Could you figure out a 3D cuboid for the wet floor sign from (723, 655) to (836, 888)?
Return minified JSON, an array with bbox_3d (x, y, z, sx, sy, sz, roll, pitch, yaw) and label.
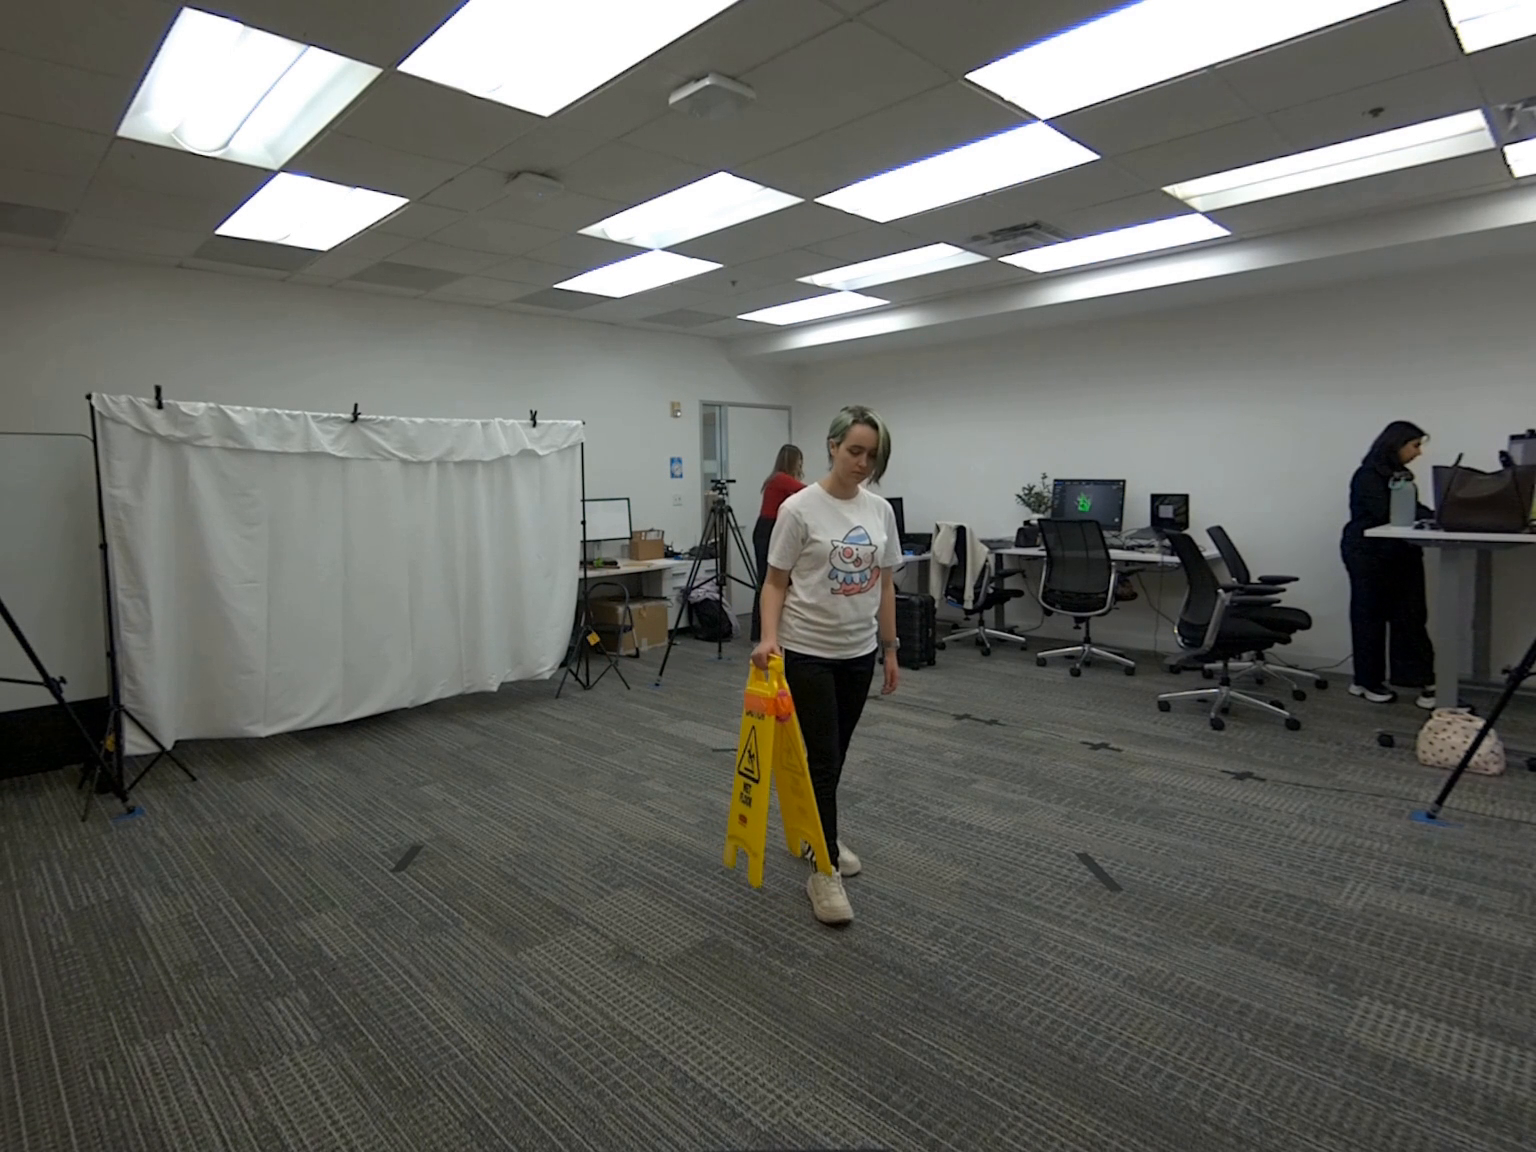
[{"bbox_3d":[0.010,0.570,2.628,0.284,0.649,0.287,-2,-5,-24],"label":"wet floor sign"}]
